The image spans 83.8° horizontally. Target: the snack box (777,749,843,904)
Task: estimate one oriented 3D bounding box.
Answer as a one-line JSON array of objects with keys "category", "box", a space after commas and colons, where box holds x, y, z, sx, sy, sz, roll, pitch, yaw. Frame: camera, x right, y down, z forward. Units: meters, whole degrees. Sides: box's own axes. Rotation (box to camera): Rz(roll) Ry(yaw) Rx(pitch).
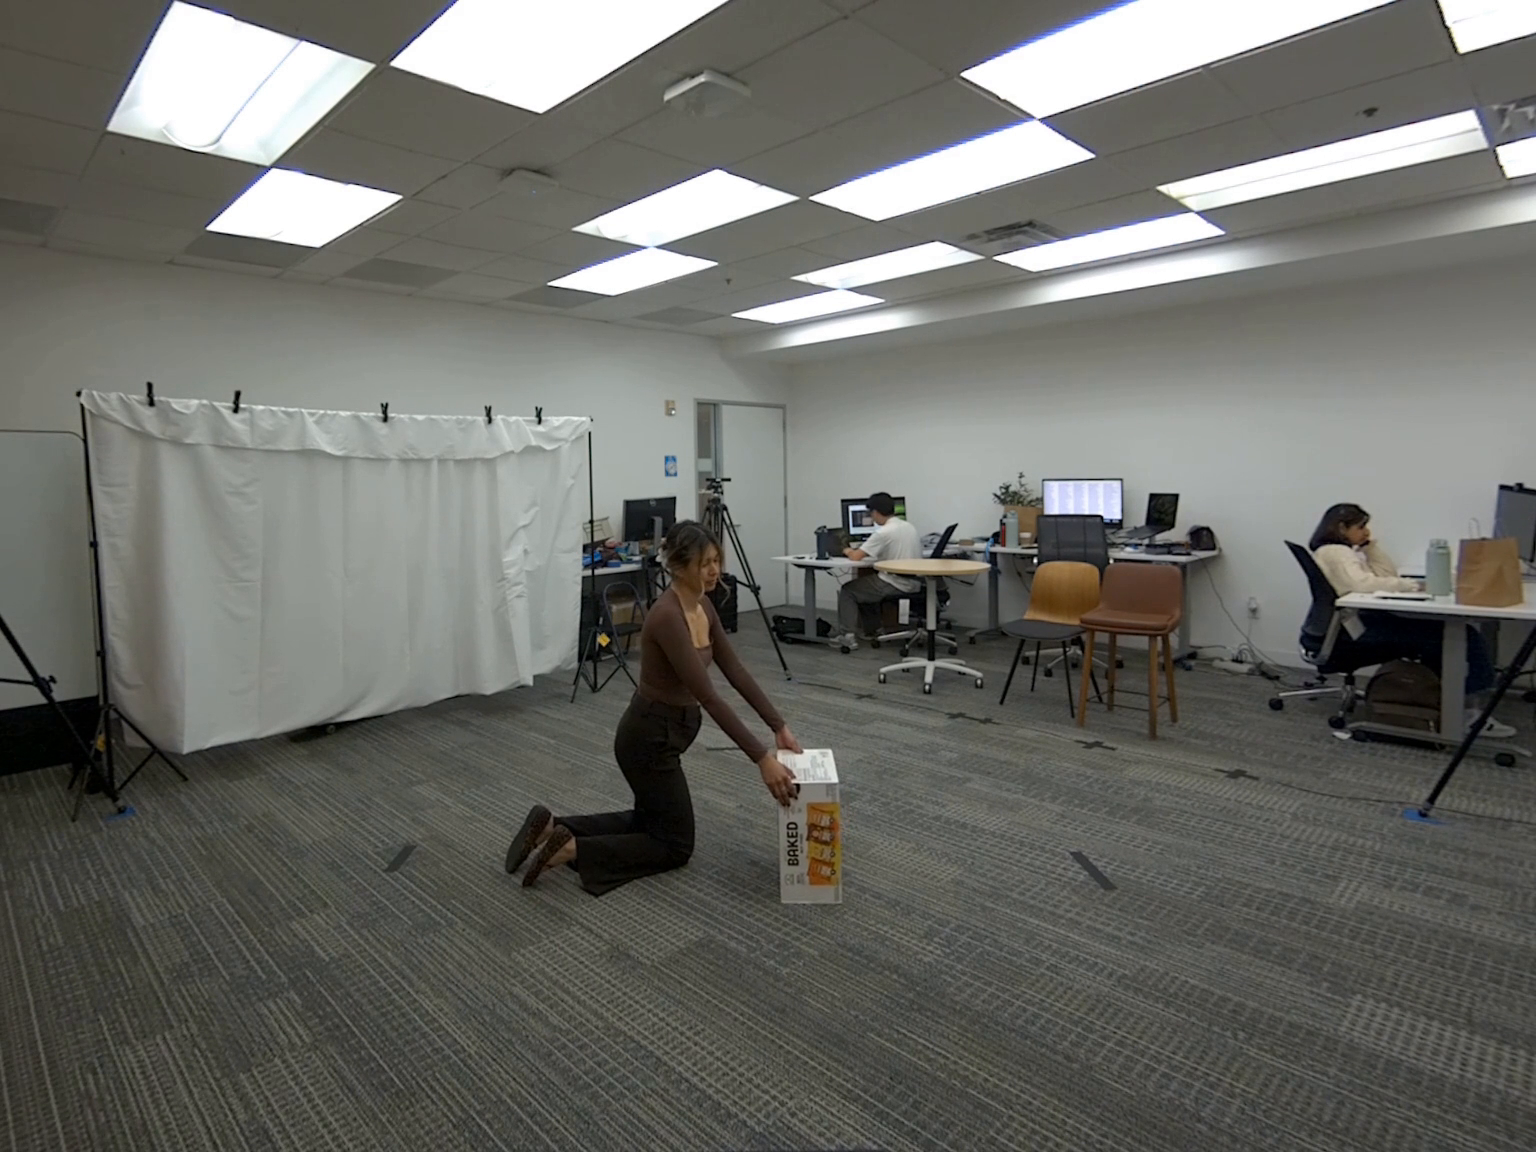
[{"category": "snack box", "box": [0.140, 0.853, 2.954, 0.206, 0.404, 0.341, -2, 4, 2]}]
